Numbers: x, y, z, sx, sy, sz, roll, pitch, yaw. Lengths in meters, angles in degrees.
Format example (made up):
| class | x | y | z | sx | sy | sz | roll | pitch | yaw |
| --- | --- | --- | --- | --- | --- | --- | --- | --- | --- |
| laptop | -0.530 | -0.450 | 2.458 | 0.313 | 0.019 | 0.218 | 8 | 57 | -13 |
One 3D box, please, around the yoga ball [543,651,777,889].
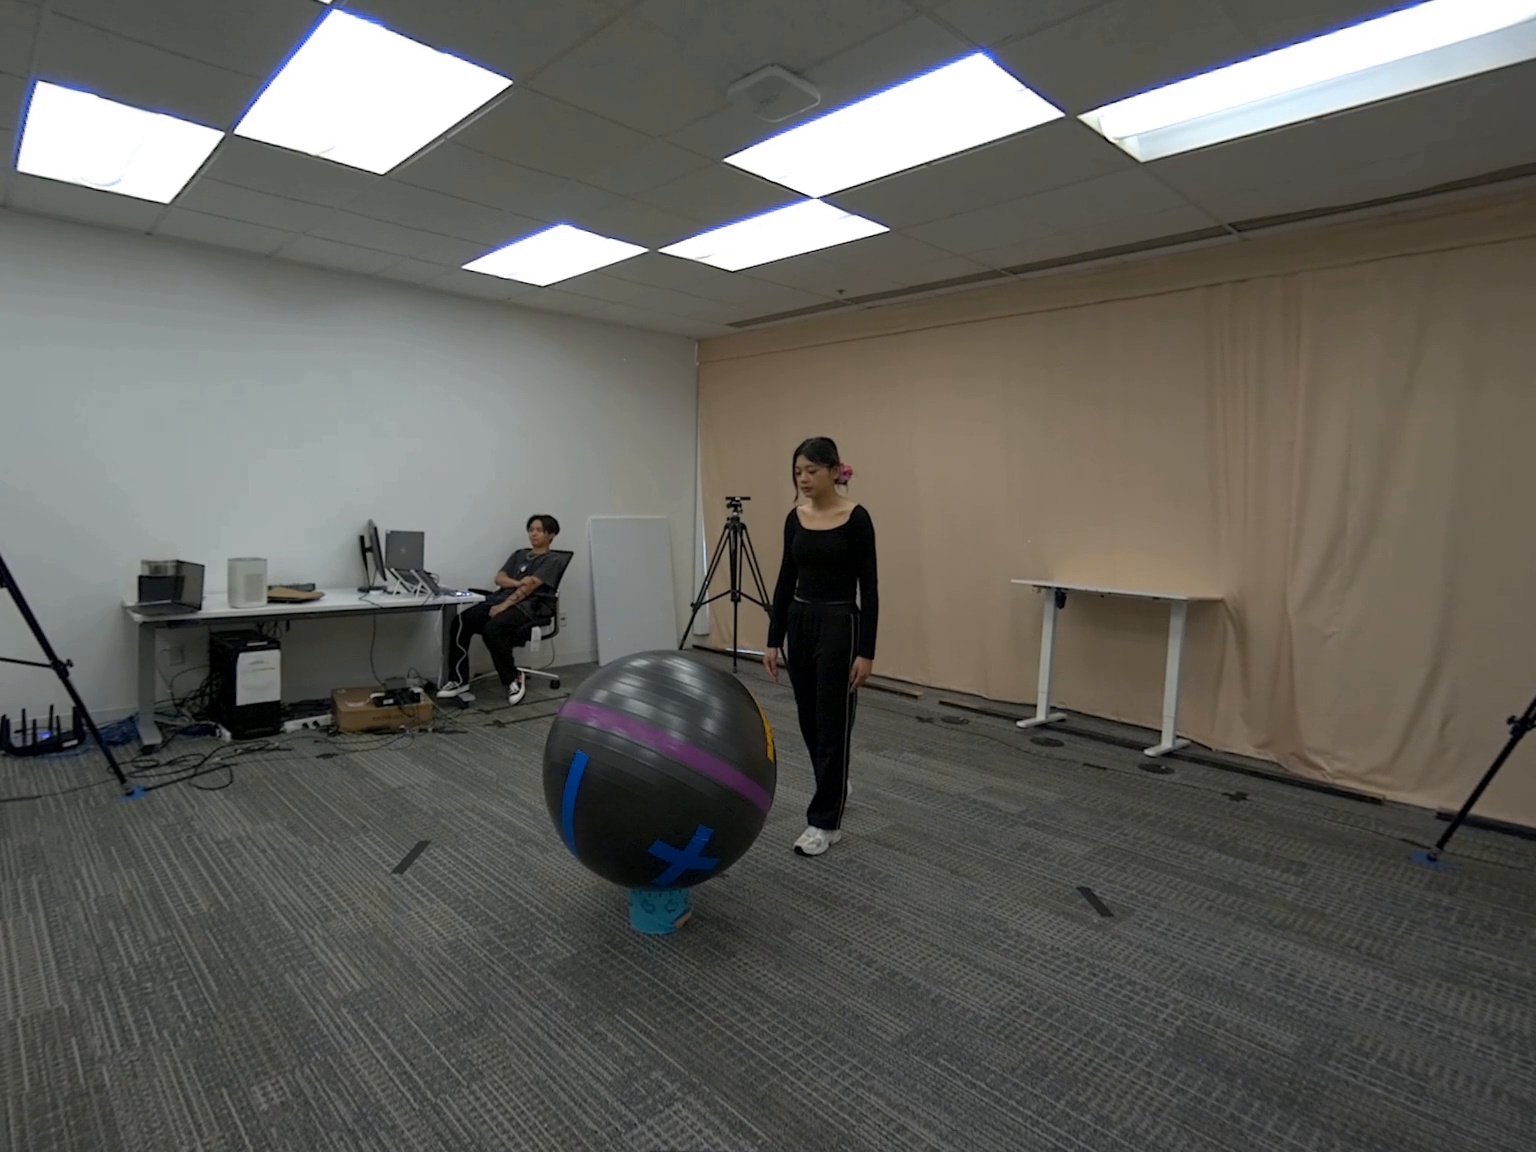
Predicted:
| class | x | y | z | sx | sy | sz | roll | pitch | yaw |
| --- | --- | --- | --- | --- | --- | --- | --- | --- | --- |
| yoga ball | -0.353 | 0.630 | 2.740 | 0.757 | 0.756 | 0.761 | 1 | 4 | -1 |
